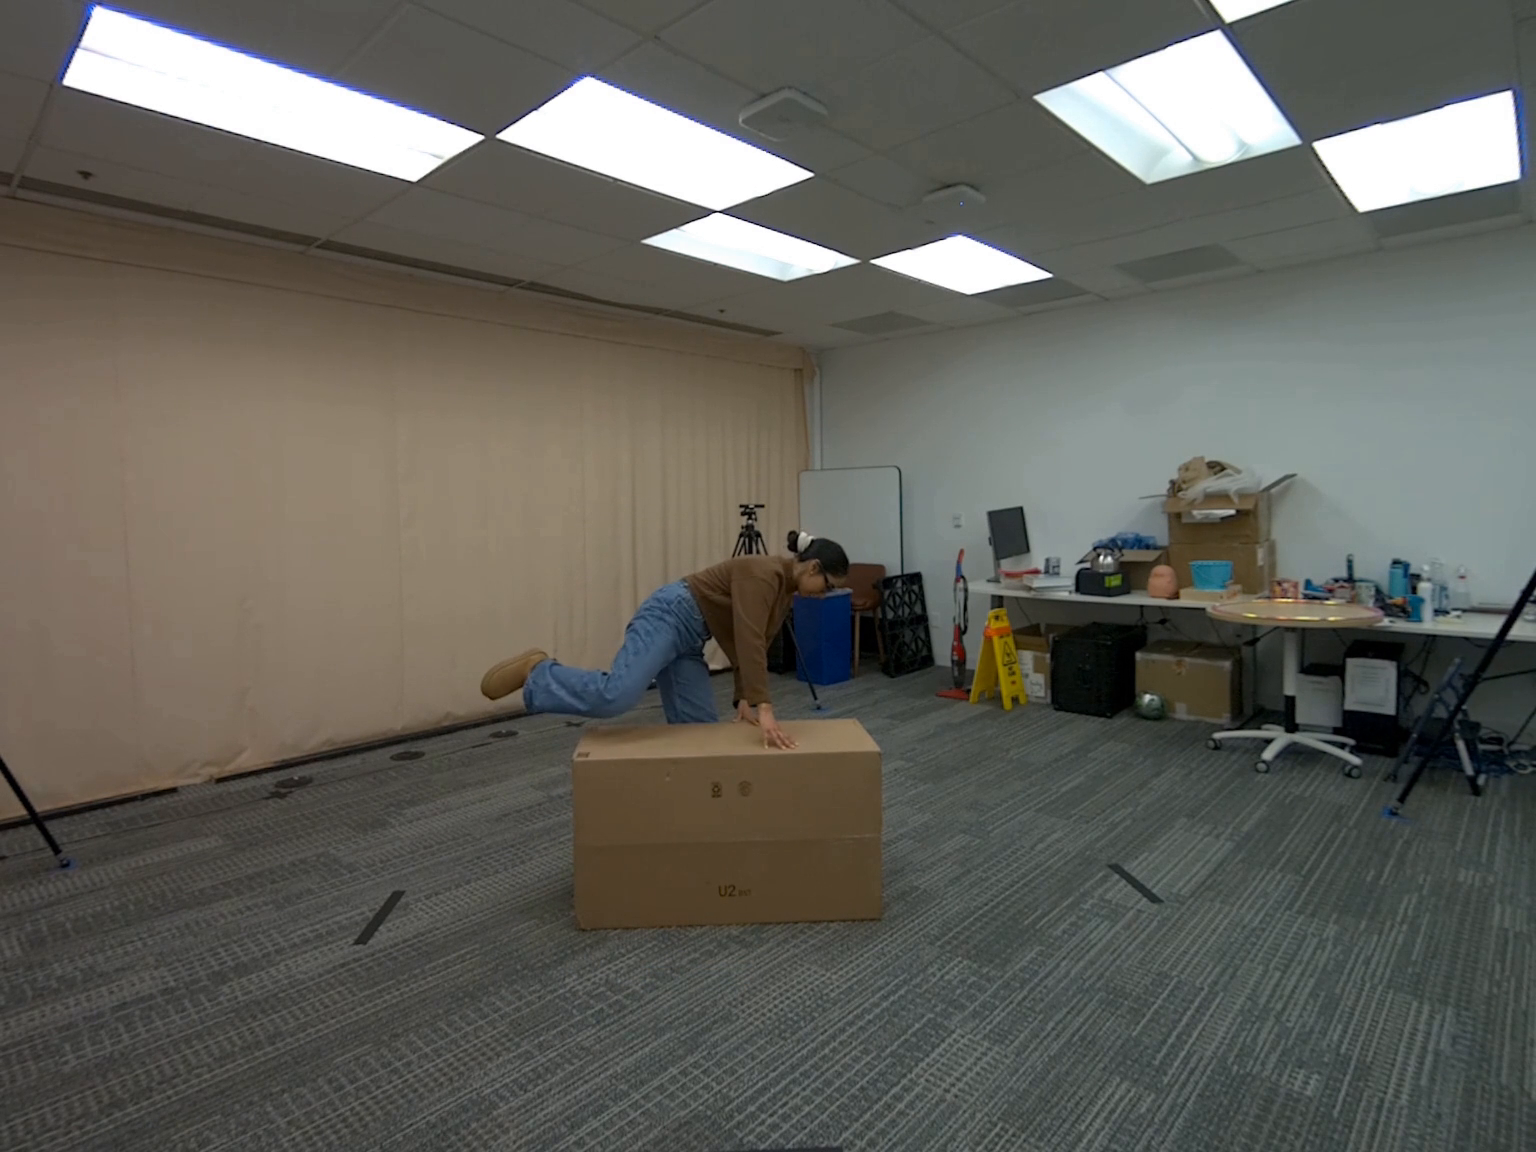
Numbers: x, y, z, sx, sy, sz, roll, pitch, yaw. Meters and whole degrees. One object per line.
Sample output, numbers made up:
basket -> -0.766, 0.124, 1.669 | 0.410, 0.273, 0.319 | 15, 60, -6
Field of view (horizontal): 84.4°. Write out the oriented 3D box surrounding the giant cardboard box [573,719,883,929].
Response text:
giant cardboard box -> -0.151, 0.855, 2.987 | 1.025, 0.582, 0.449 | -1, 4, -2
